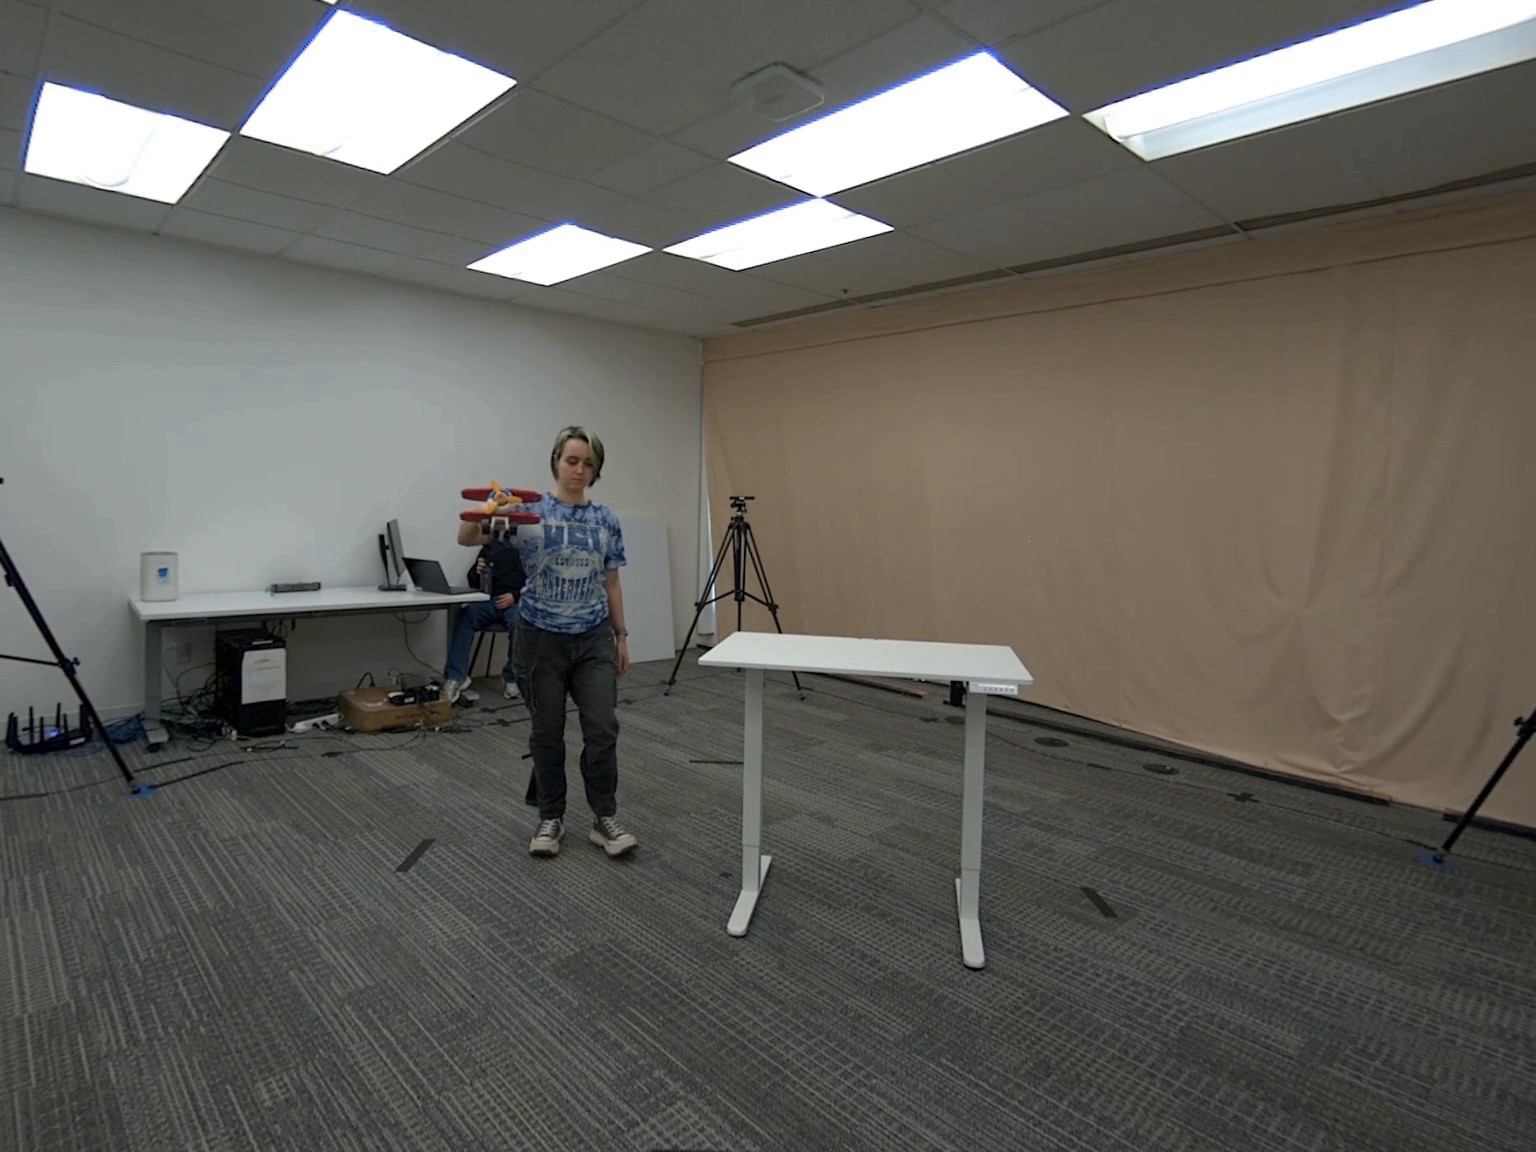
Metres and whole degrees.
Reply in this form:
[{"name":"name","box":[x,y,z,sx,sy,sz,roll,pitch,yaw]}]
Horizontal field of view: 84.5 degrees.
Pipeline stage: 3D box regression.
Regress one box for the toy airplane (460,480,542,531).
[{"name":"toy airplane","box":[-0.908,-0.203,2.777,0.245,0.157,0.265,5,-5,-42]}]
